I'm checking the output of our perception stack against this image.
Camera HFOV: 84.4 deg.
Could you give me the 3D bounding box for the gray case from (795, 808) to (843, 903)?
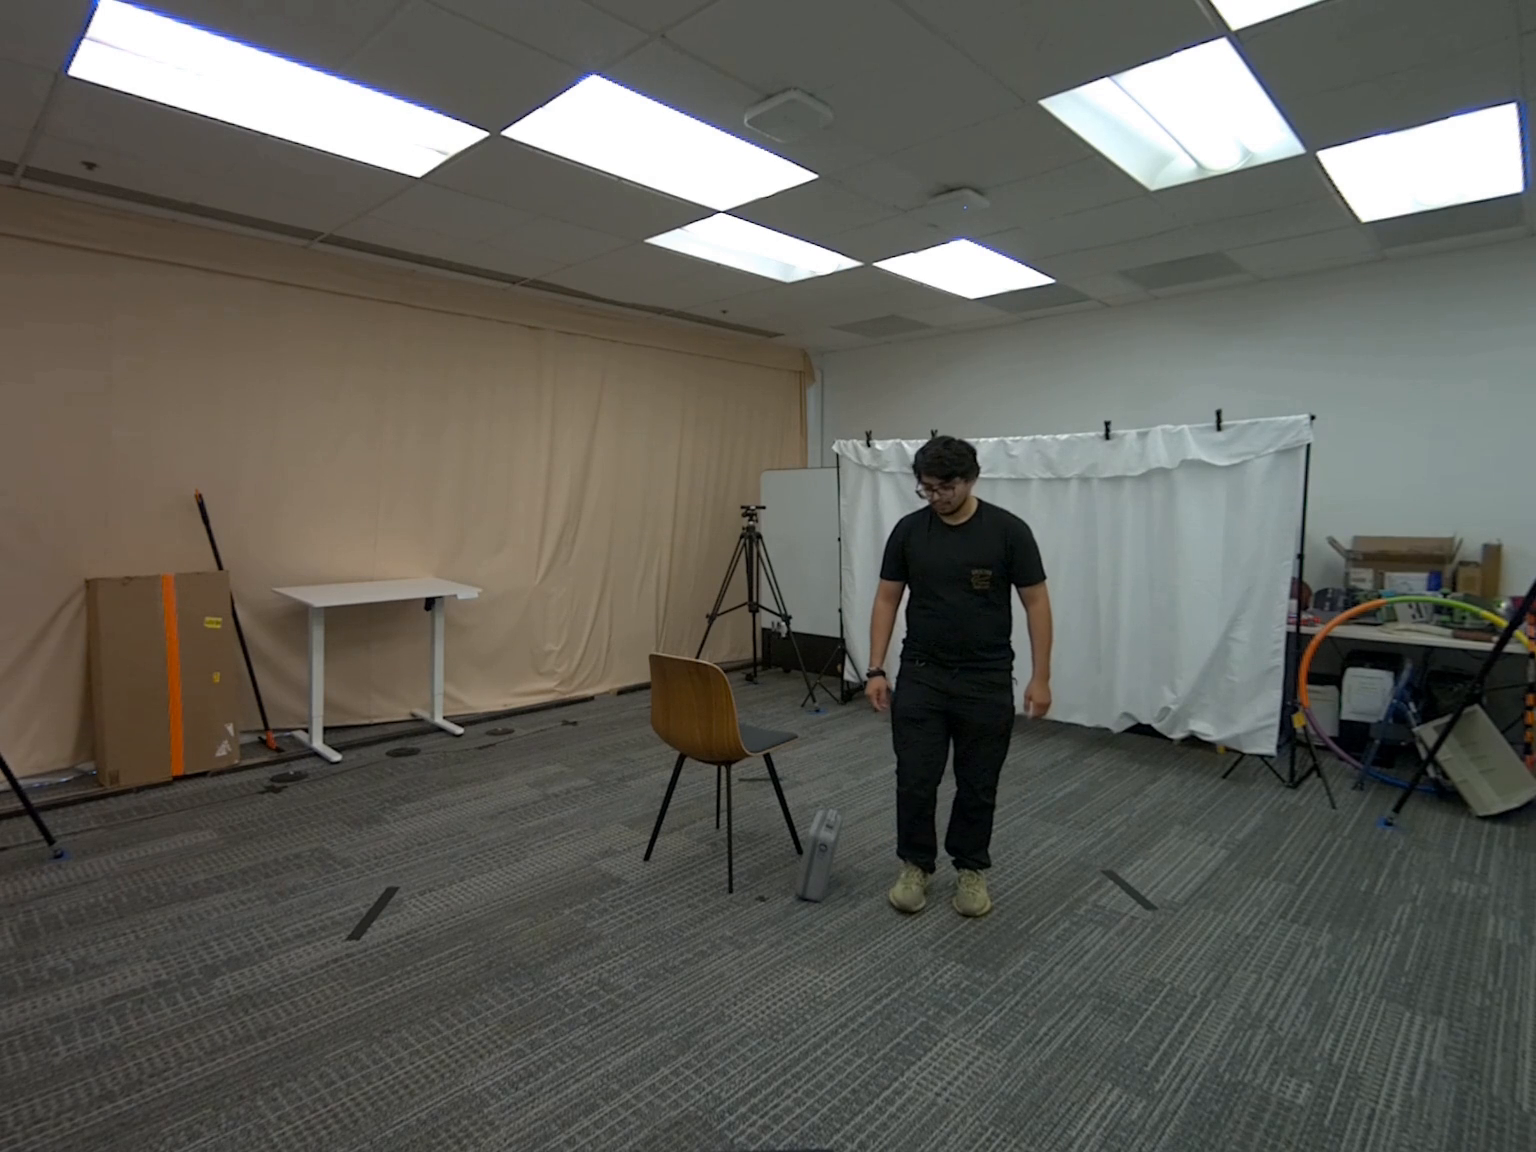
[{"bbox_3d":[0.188,1.002,3.058,0.106,0.260,0.254,10,8,11],"label":"gray case"}]
